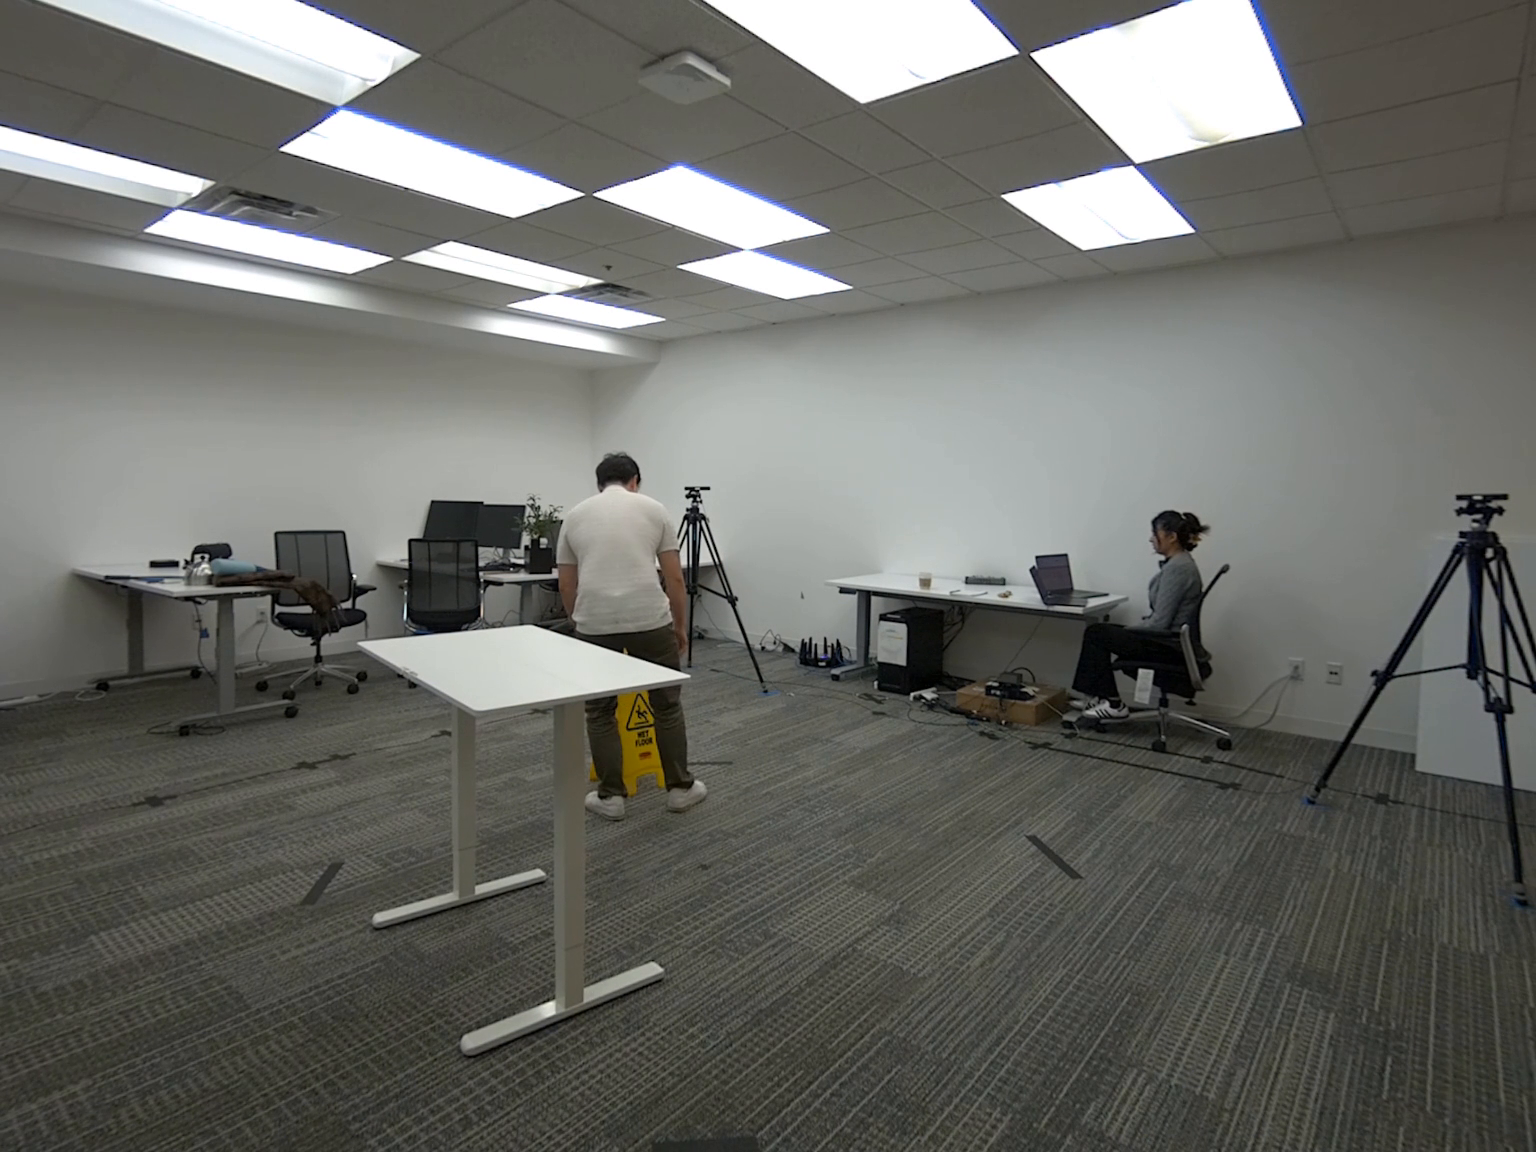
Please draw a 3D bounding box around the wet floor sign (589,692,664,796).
[{"bbox_3d":[-0.658,0.650,3.997,0.273,0.645,0.299,-1,2,-41],"label":"wet floor sign"}]
